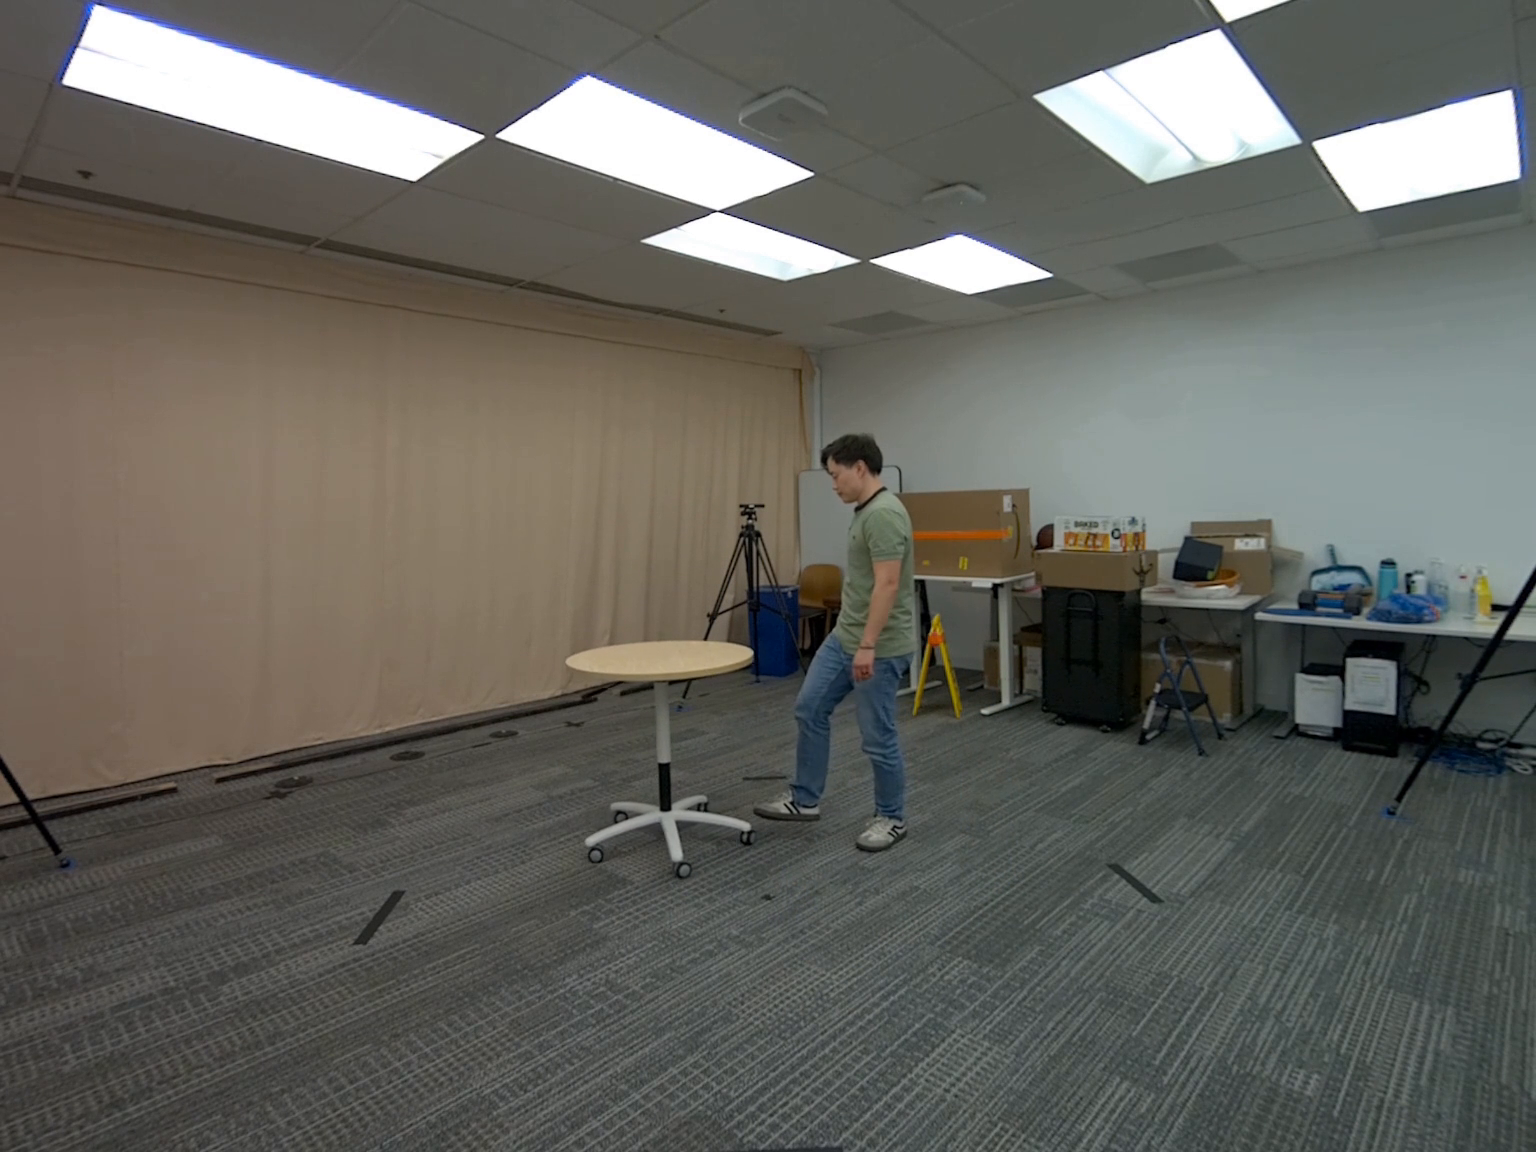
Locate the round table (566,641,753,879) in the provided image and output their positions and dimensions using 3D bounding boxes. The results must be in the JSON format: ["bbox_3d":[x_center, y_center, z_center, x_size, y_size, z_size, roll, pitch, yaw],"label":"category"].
[{"bbox_3d":[-0.420,0.719,3.471,0.763,0.792,0.766,-2,3,-2],"label":"round table"}]
